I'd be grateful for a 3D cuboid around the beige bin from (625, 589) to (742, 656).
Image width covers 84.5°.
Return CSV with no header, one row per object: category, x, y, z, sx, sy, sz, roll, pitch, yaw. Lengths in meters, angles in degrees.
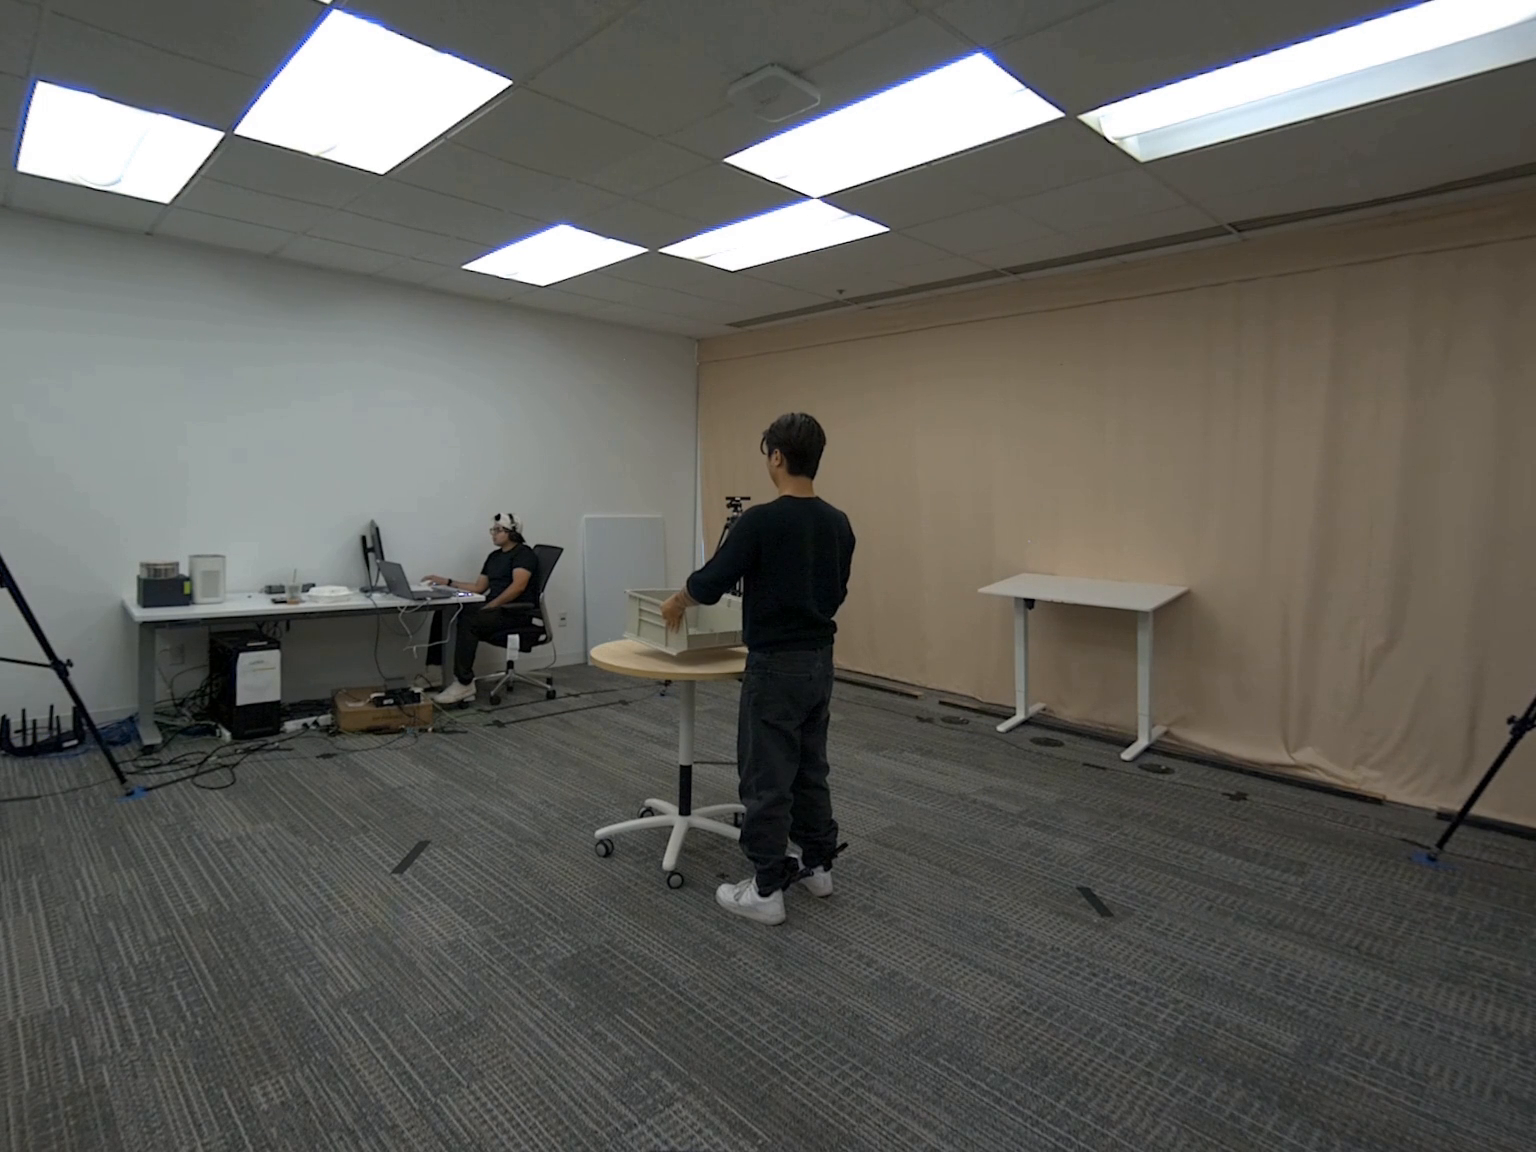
beige bin,-0.285,0.170,3.254,0.388,0.188,0.412,10,8,44
